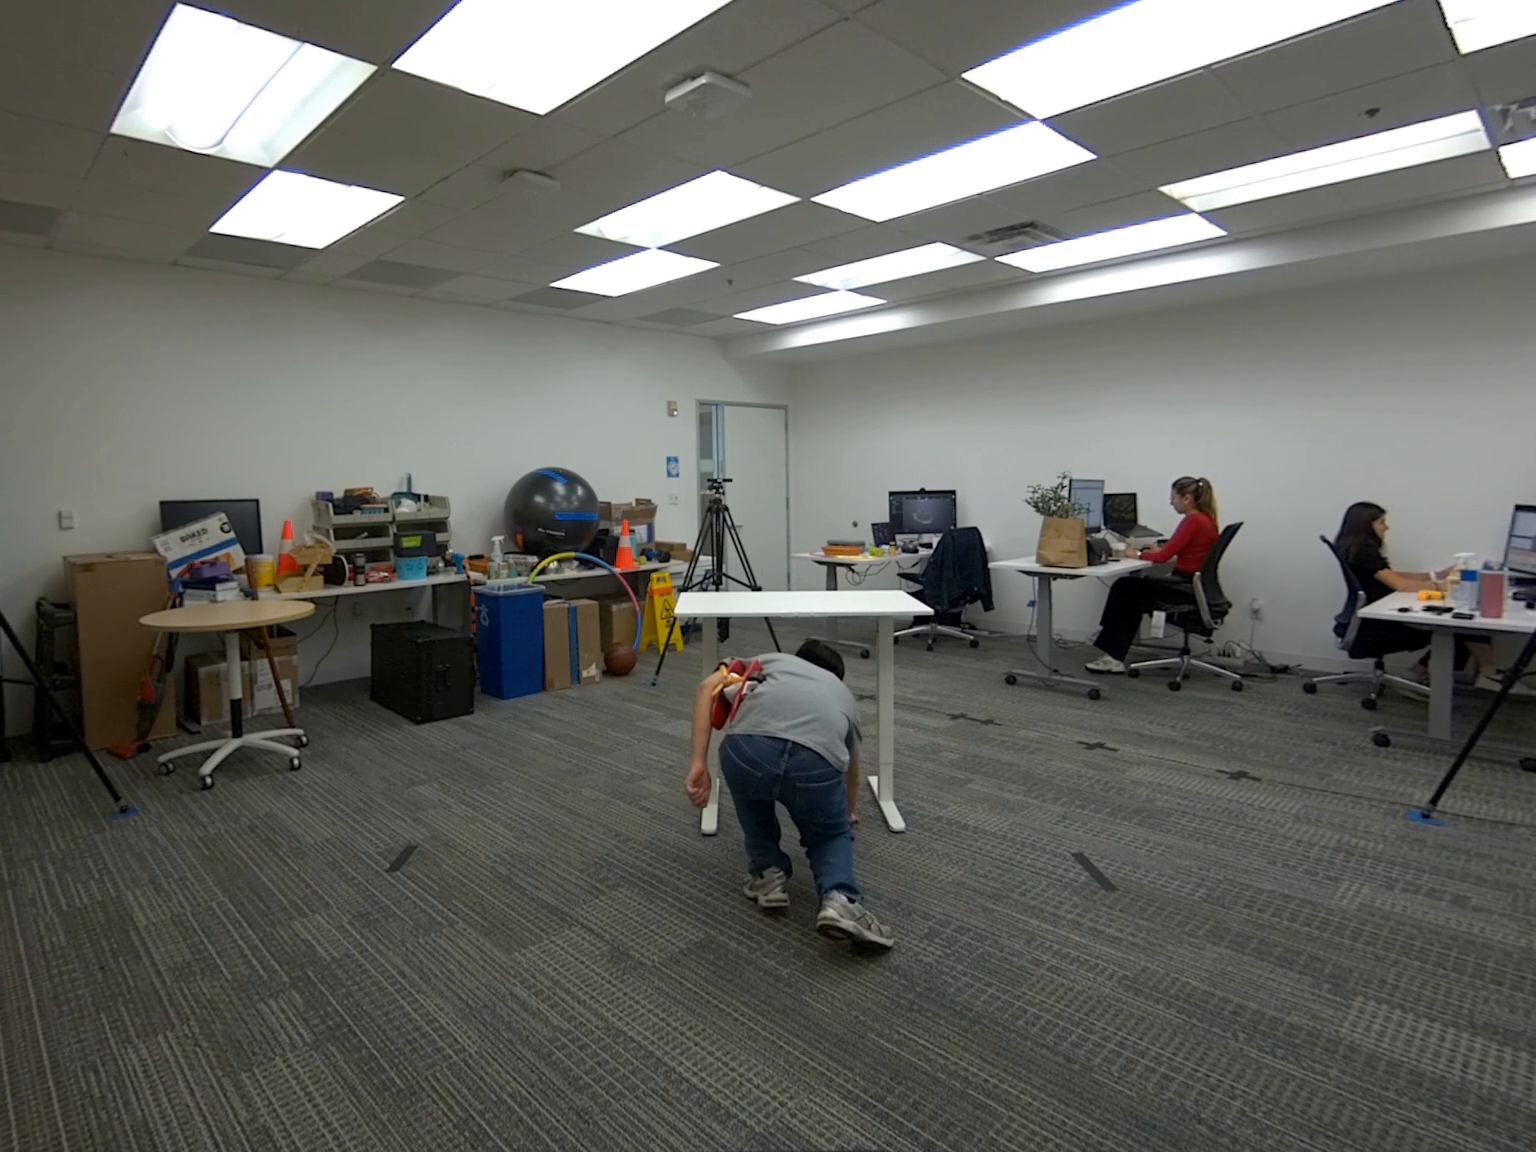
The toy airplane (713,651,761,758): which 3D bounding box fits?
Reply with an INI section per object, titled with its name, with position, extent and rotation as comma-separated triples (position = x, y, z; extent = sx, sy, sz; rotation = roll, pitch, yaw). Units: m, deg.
[toy airplane]
position = -0.060, 0.434, 2.844
extent = 0.160, 0.254, 0.250
rotation = 7, 23, 19
